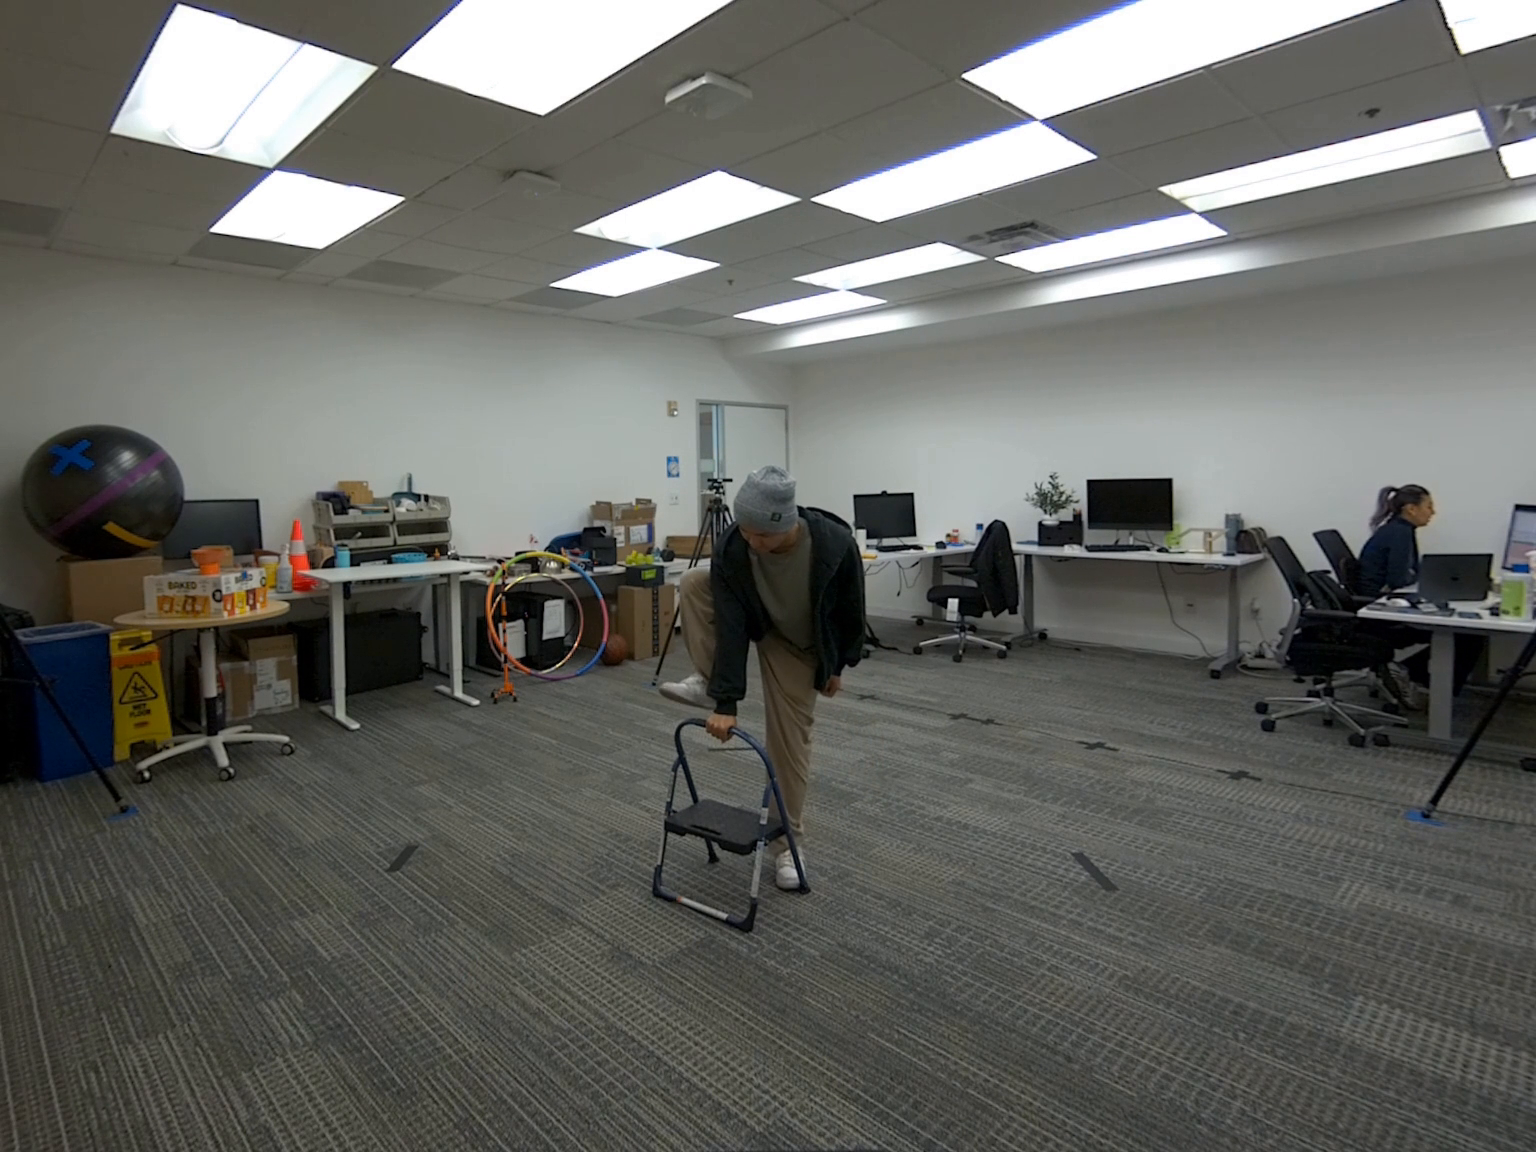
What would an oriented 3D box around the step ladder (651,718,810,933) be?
[{"bbox_3d":[-0.131,0.771,2.867,0.443,0.604,0.340,2,5,37],"label":"step ladder"}]
